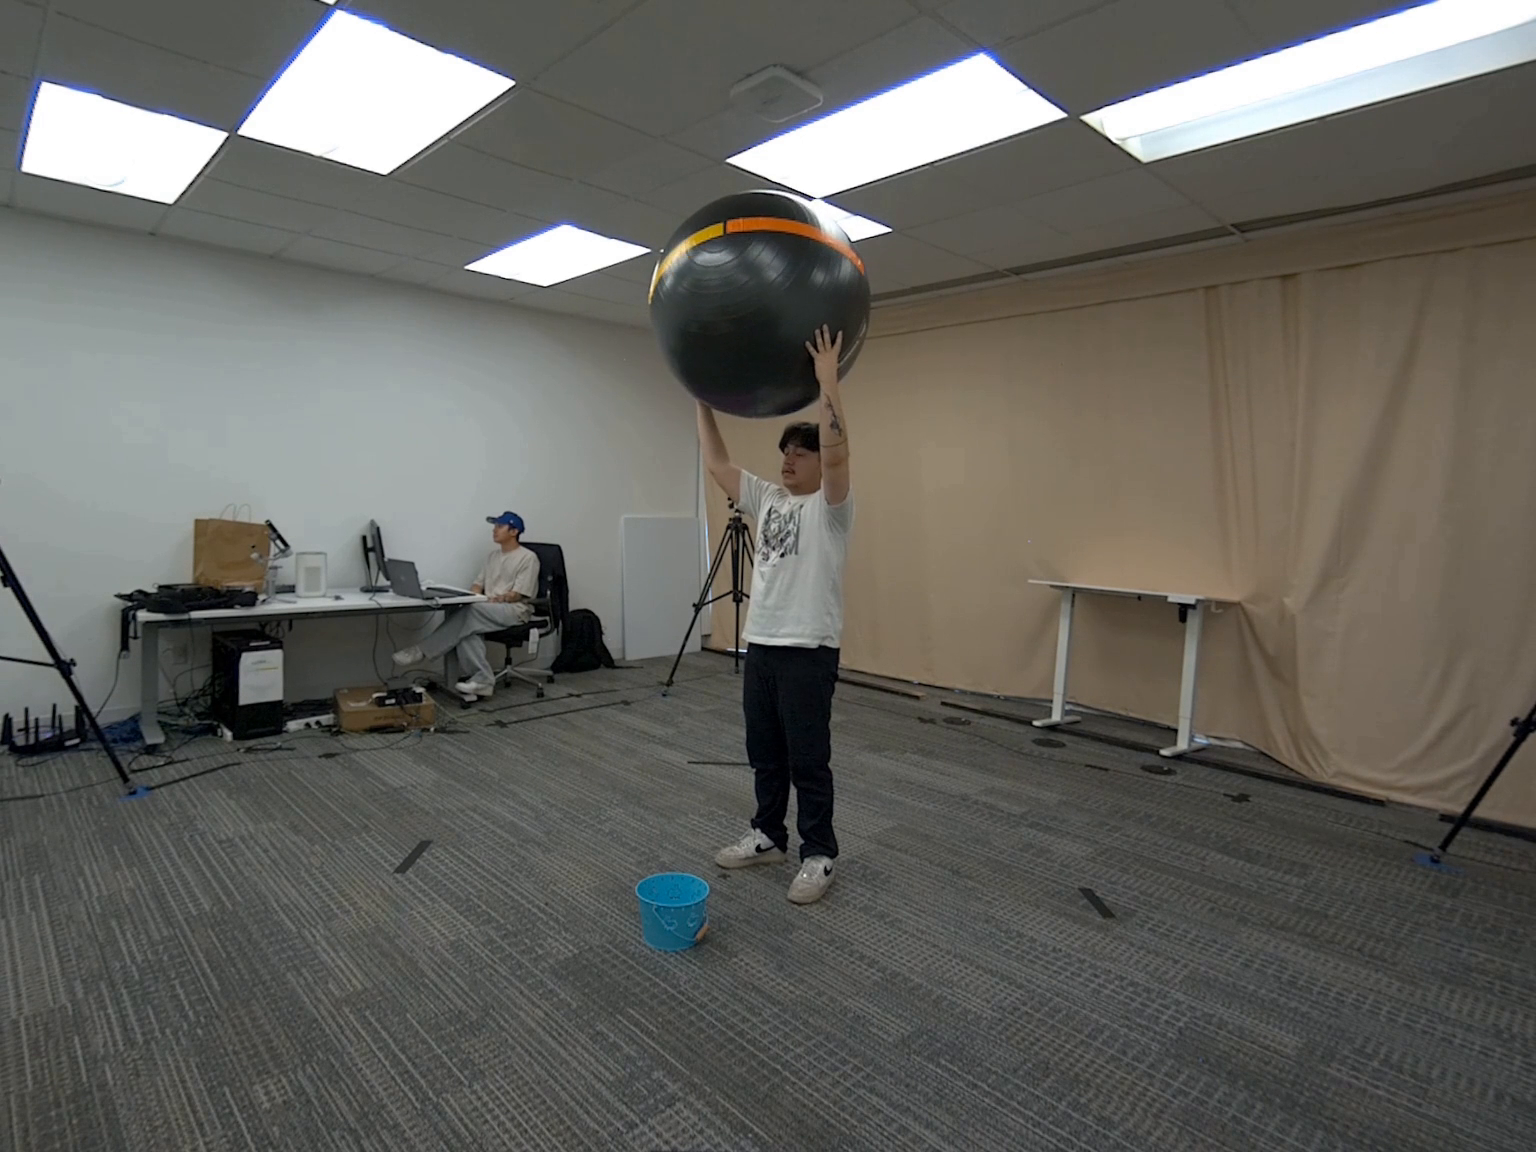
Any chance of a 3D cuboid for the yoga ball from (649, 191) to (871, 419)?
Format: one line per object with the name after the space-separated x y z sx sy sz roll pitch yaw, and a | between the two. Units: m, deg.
-0.032 -0.931 2.925 0.757 0.756 0.760 1 4 -1 | yoga ball
